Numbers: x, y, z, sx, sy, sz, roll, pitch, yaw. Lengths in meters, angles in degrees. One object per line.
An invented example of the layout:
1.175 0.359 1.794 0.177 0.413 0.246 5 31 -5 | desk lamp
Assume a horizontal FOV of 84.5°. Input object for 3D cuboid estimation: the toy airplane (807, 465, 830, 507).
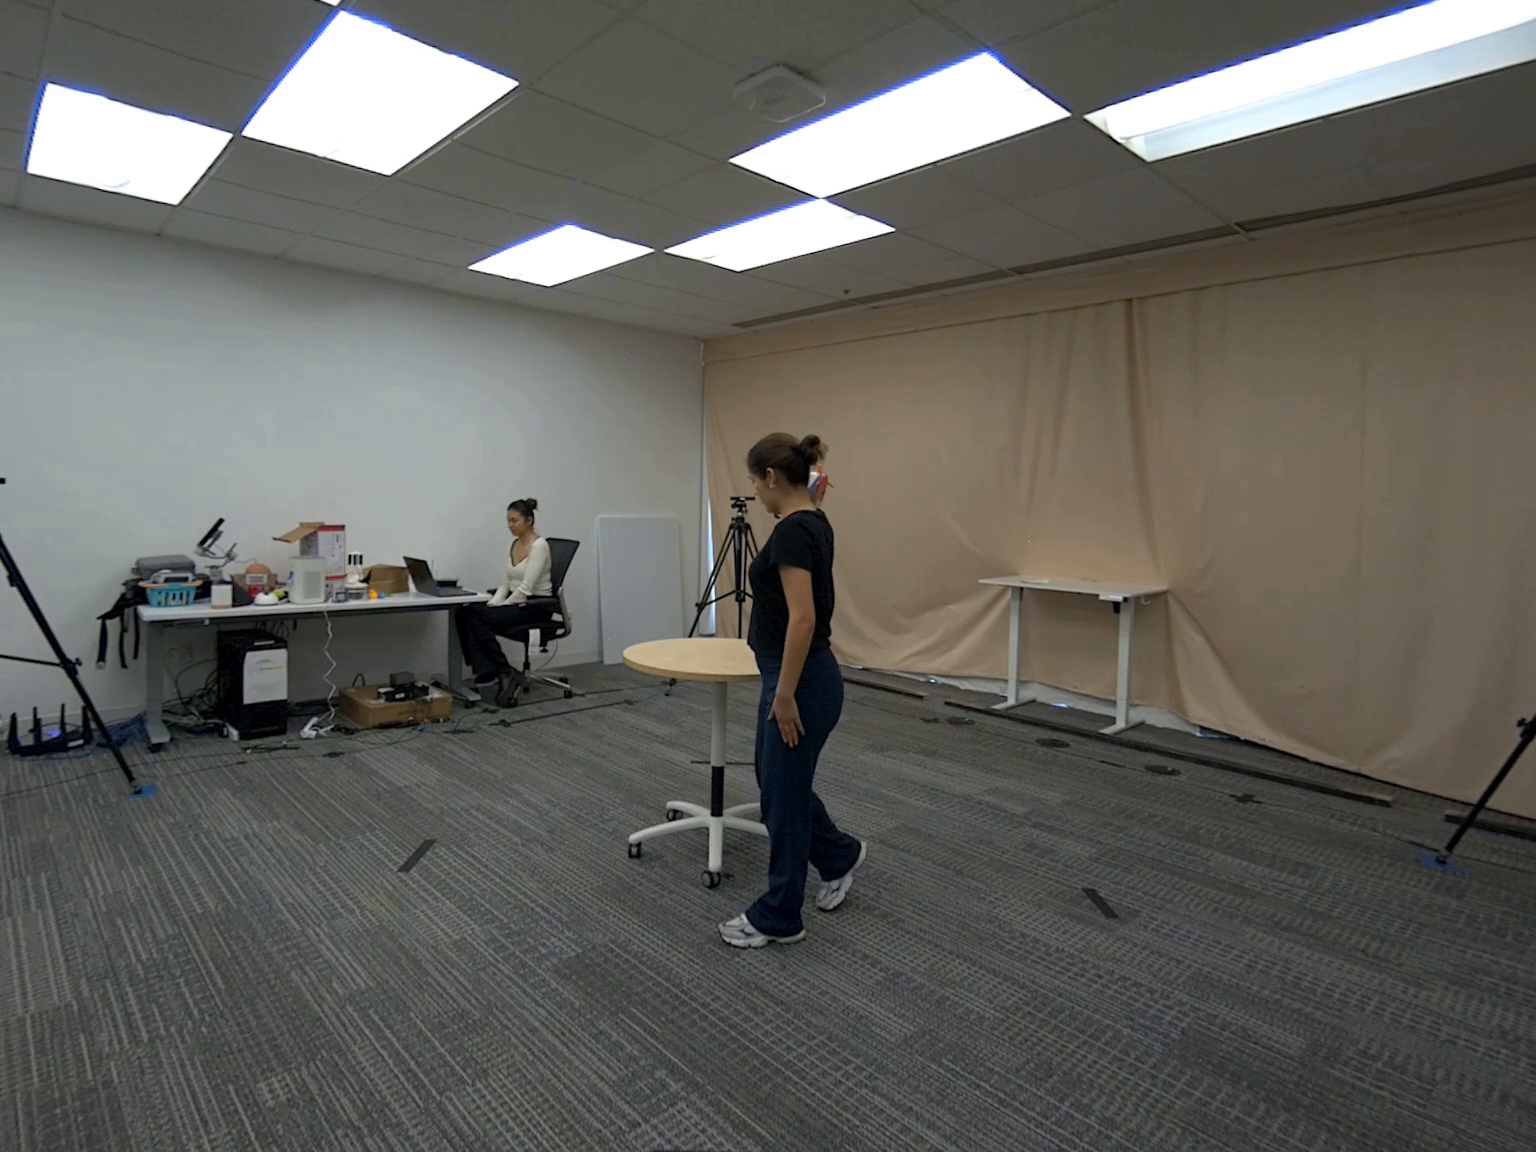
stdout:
0.121 -0.296 3.227 0.157 0.259 0.250 20 4 6 | toy airplane
